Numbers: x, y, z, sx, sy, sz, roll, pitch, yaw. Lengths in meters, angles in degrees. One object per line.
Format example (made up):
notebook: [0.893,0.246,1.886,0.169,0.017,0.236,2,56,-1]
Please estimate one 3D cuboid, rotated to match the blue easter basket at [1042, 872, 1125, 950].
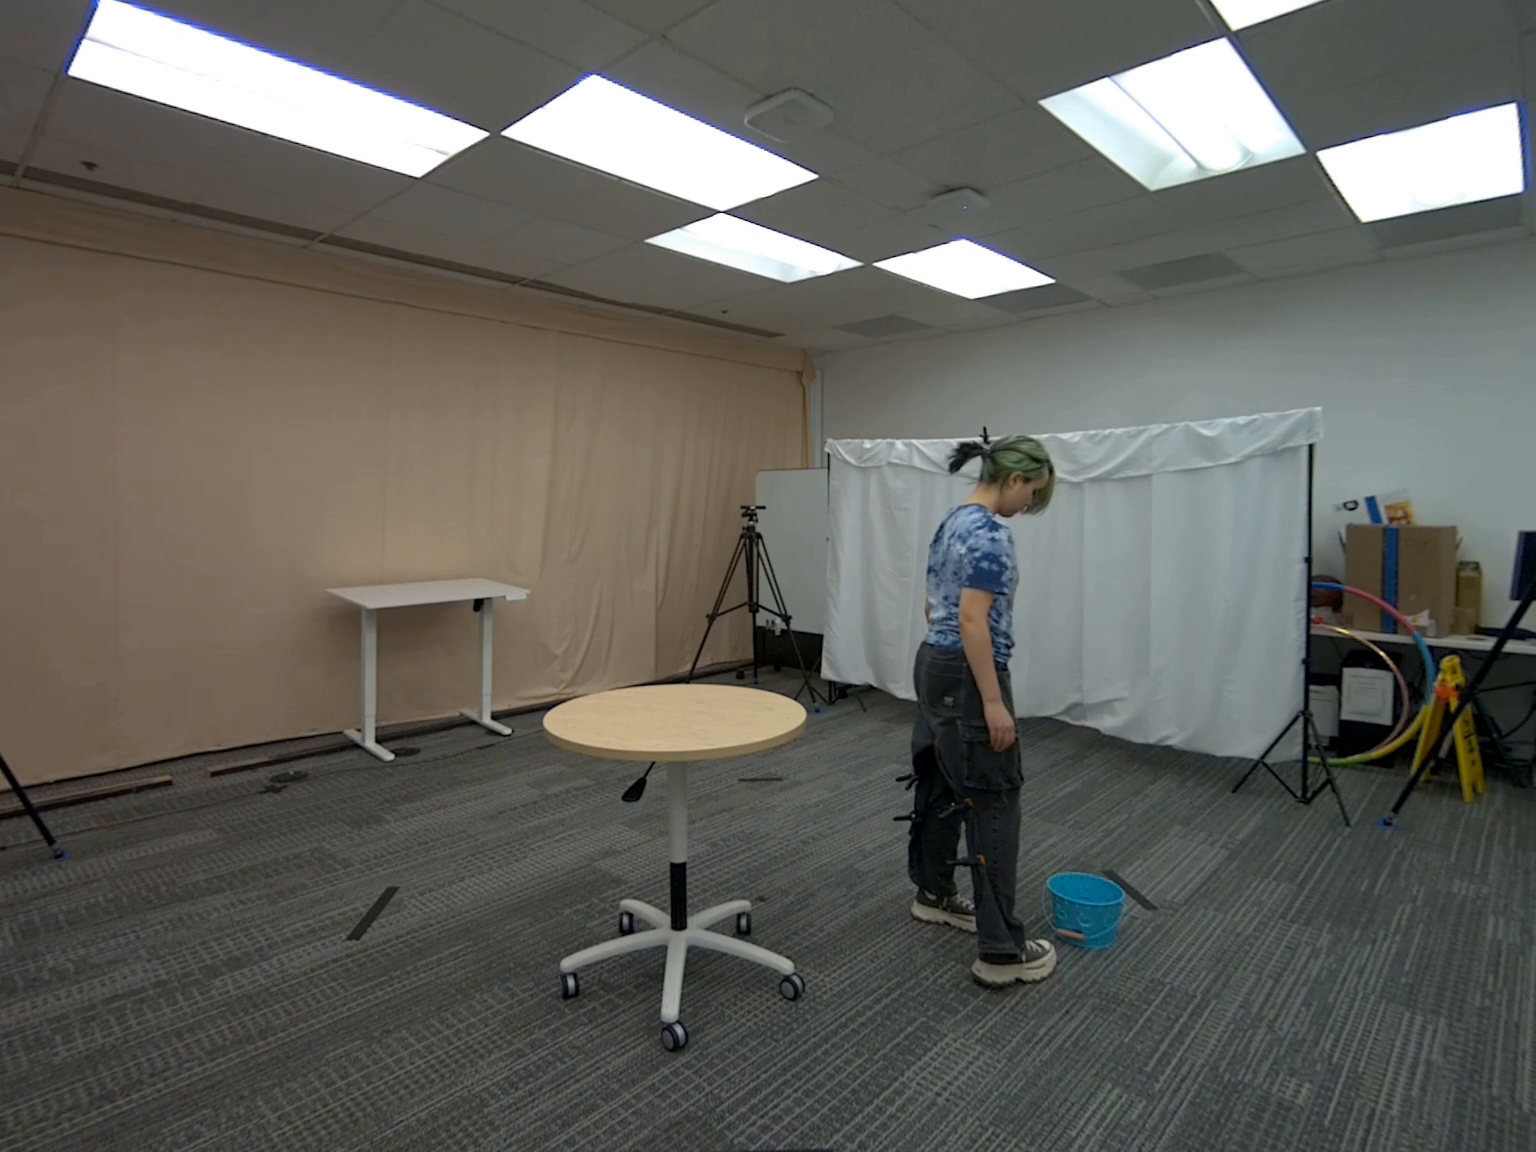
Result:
blue easter basket: [1.029,1.086,2.727,0.243,0.155,0.244,1,4,-2]
